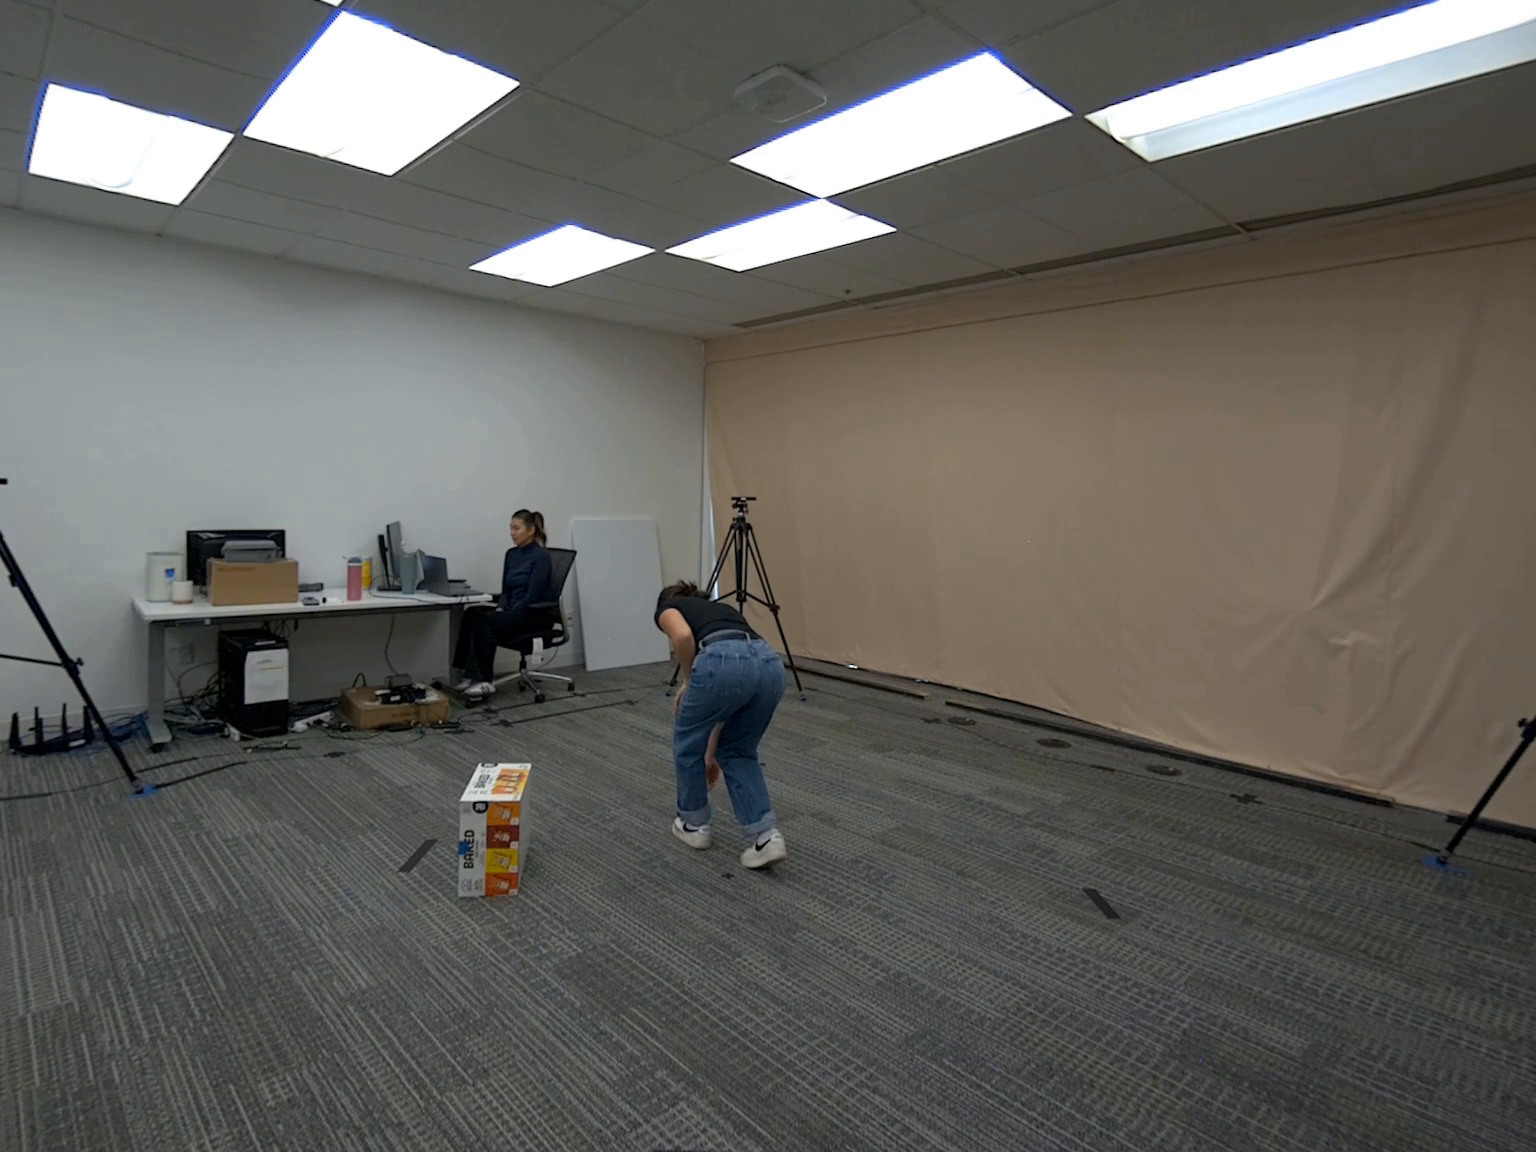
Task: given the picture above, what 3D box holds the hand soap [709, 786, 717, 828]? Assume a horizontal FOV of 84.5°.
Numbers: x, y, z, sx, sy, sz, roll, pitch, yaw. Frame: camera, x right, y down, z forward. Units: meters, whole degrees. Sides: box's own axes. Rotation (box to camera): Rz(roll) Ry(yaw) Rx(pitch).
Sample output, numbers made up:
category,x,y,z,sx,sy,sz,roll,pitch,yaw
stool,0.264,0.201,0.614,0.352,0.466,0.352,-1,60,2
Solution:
category,x,y,z,sx,sy,sz,roll,pitch,yaw
hand soap,-0.272,0.973,3.592,0.085,0.166,0.043,6,15,6
